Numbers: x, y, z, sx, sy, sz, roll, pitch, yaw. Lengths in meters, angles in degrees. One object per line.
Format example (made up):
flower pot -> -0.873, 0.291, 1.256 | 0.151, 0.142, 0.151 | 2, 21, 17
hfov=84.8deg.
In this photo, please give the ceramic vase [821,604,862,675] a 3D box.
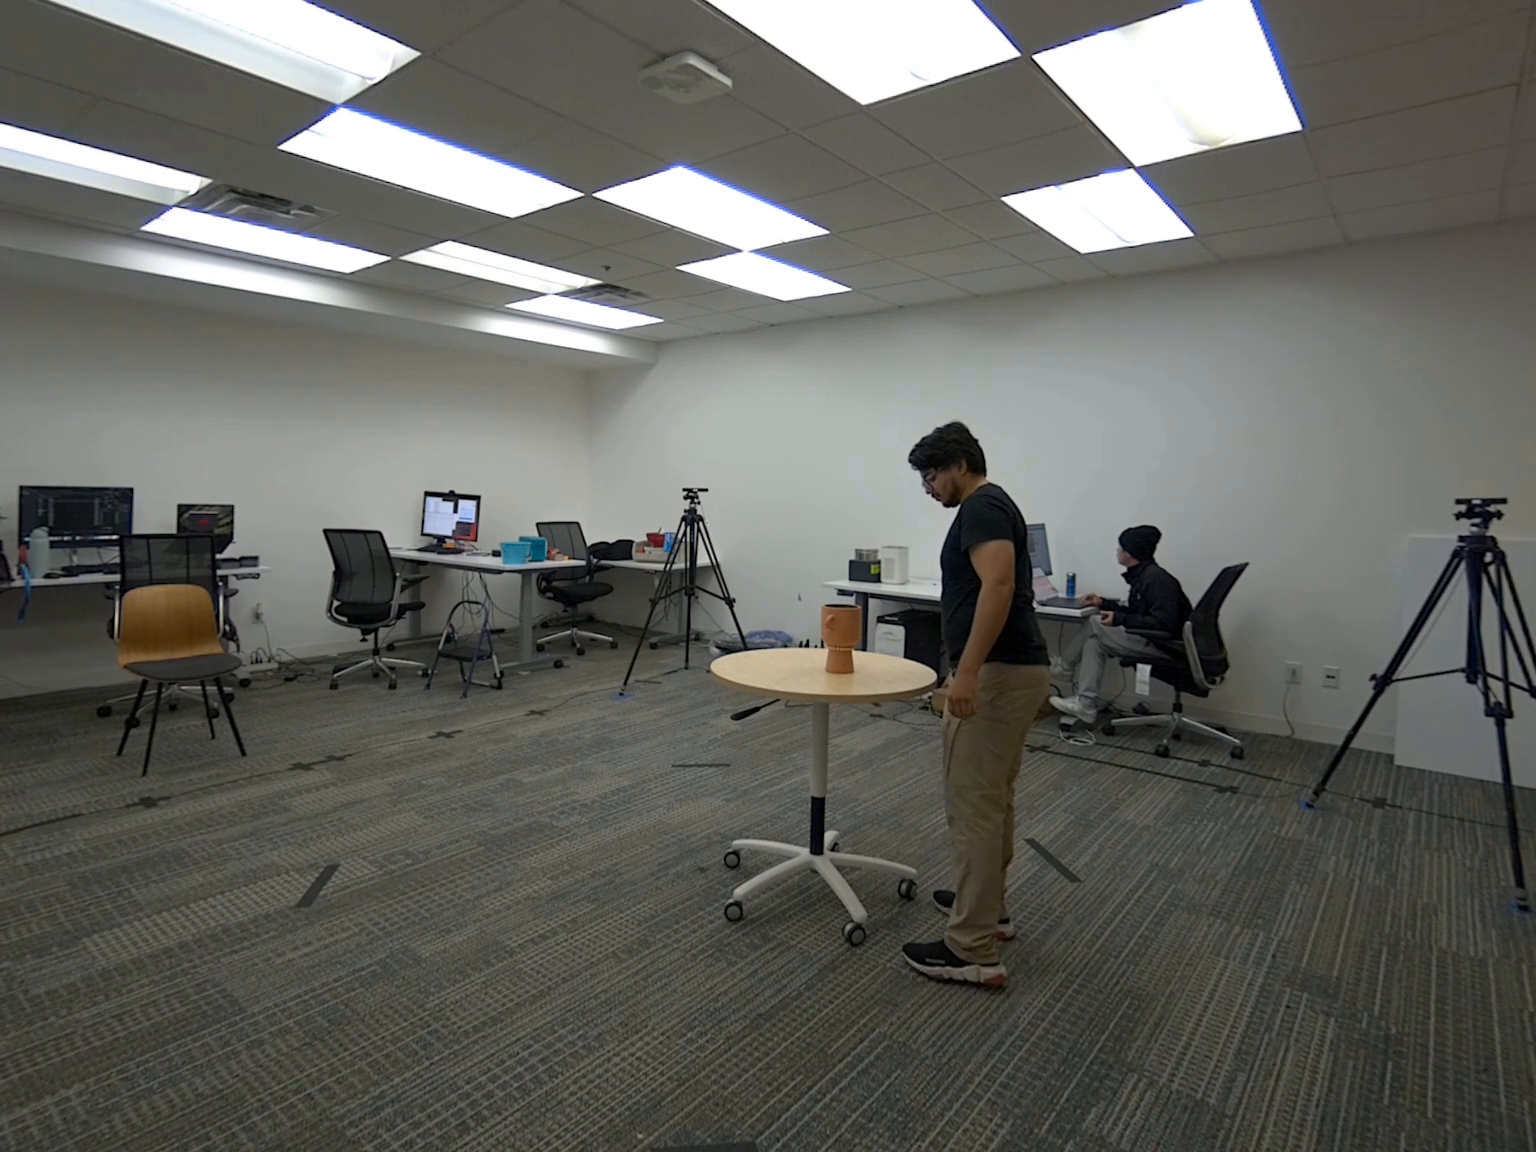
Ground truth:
ceramic vase -> 0.249, 0.214, 2.876 | 0.156, 0.219, 0.137 | 2, 4, -17
